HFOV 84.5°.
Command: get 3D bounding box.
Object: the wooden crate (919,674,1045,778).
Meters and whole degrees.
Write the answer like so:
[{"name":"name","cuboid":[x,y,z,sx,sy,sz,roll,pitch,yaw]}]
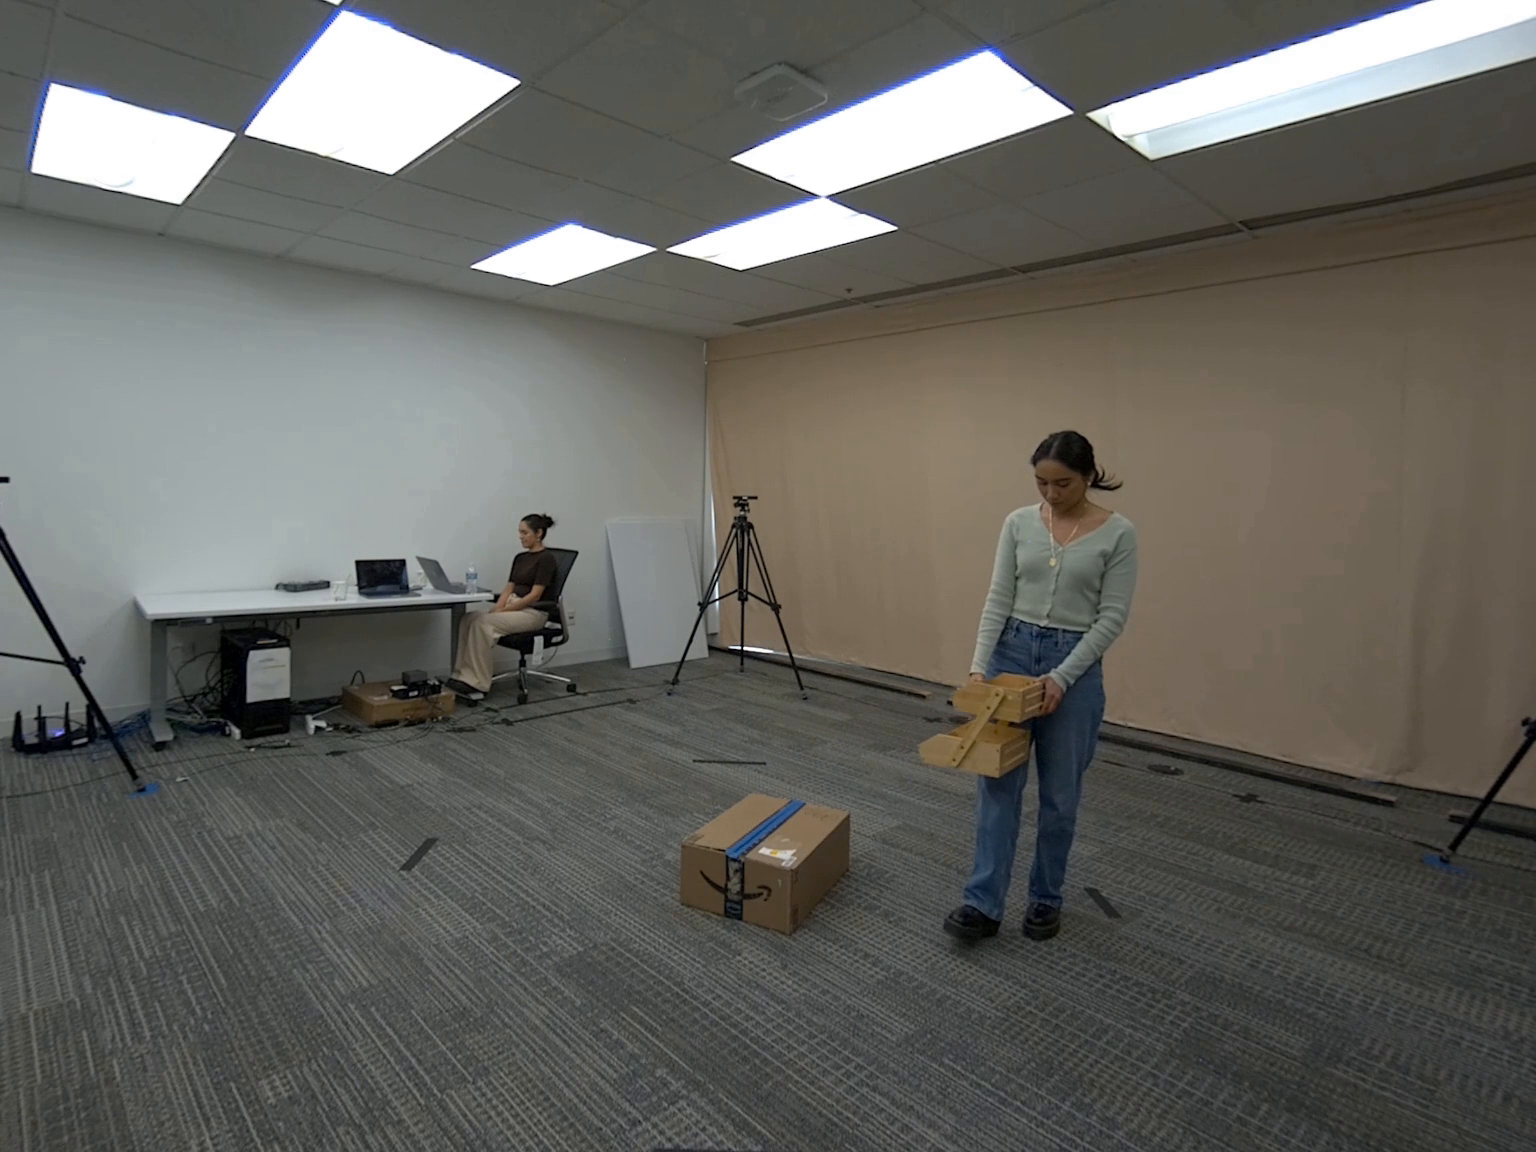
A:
[{"name":"wooden crate","cuboid":[0.647,0.437,2.582,0.309,0.273,0.317,5,2,34]}]
